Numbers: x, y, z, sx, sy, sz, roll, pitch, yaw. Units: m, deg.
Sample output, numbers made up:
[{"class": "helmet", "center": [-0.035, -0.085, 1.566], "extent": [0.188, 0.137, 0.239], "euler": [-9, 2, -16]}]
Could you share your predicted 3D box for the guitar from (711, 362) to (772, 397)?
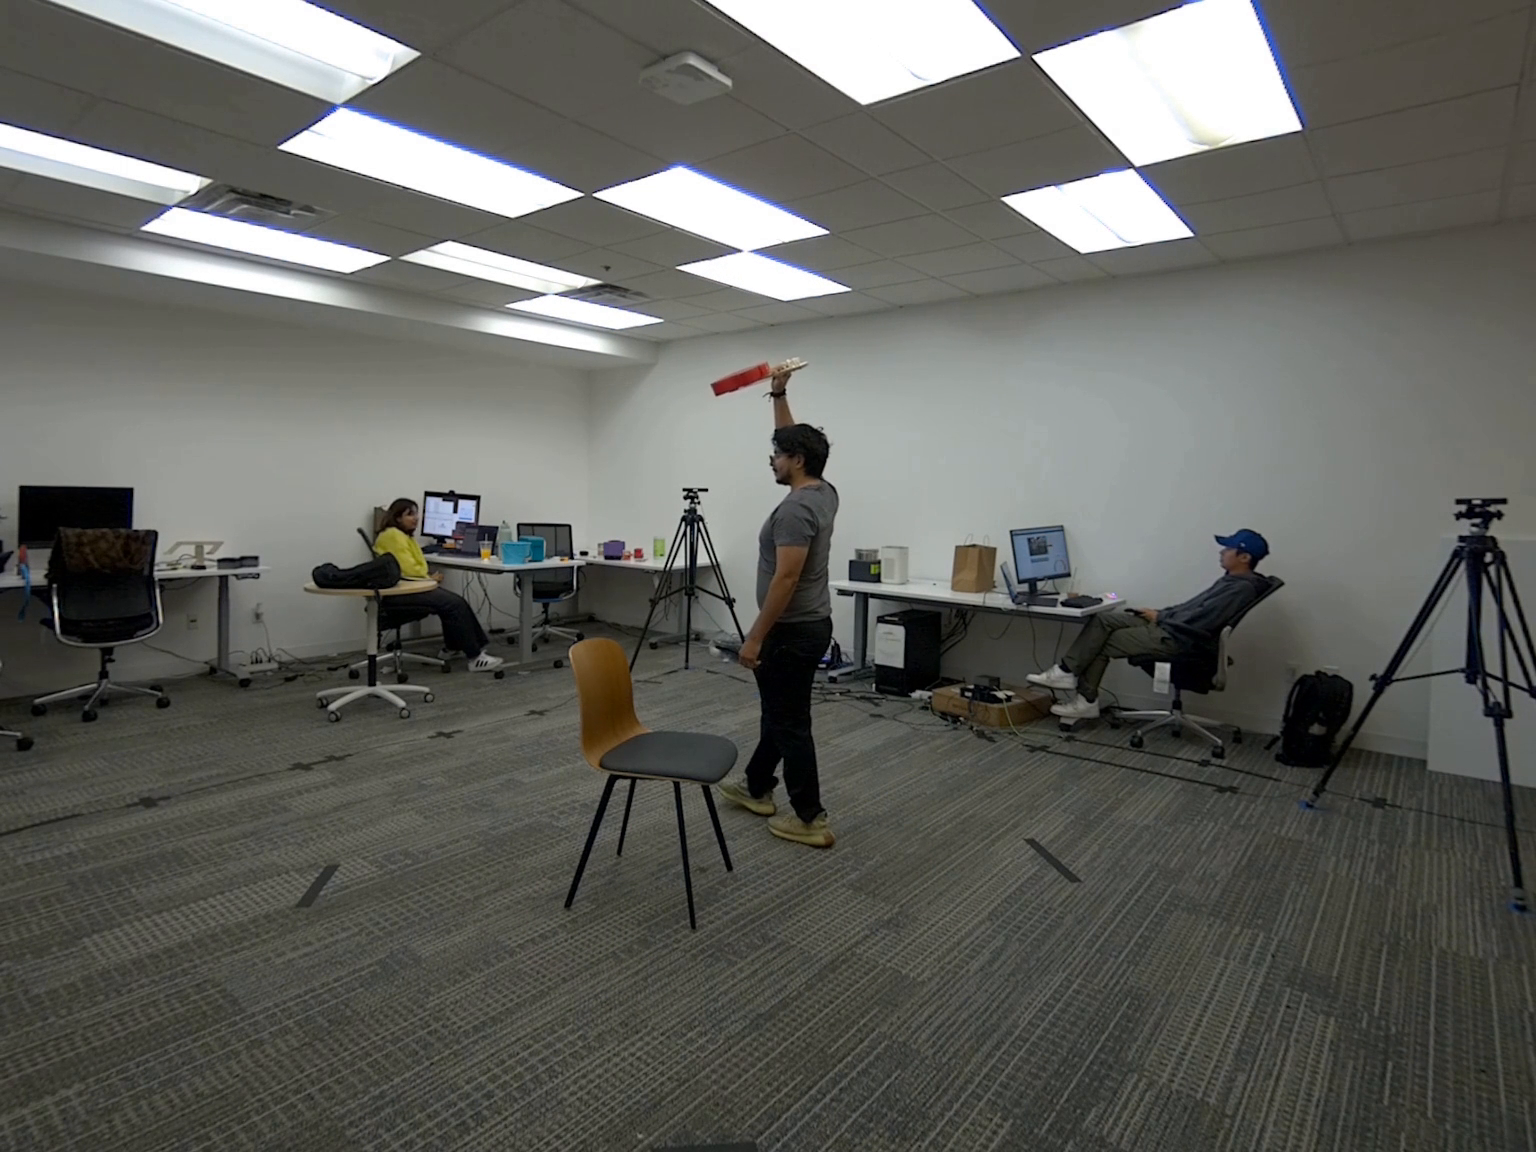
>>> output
[{"class": "guitar", "center": [-0.021, -0.866, 3.569], "extent": [0.511, 0.069, 0.191], "euler": [-8, 22, 40]}]
